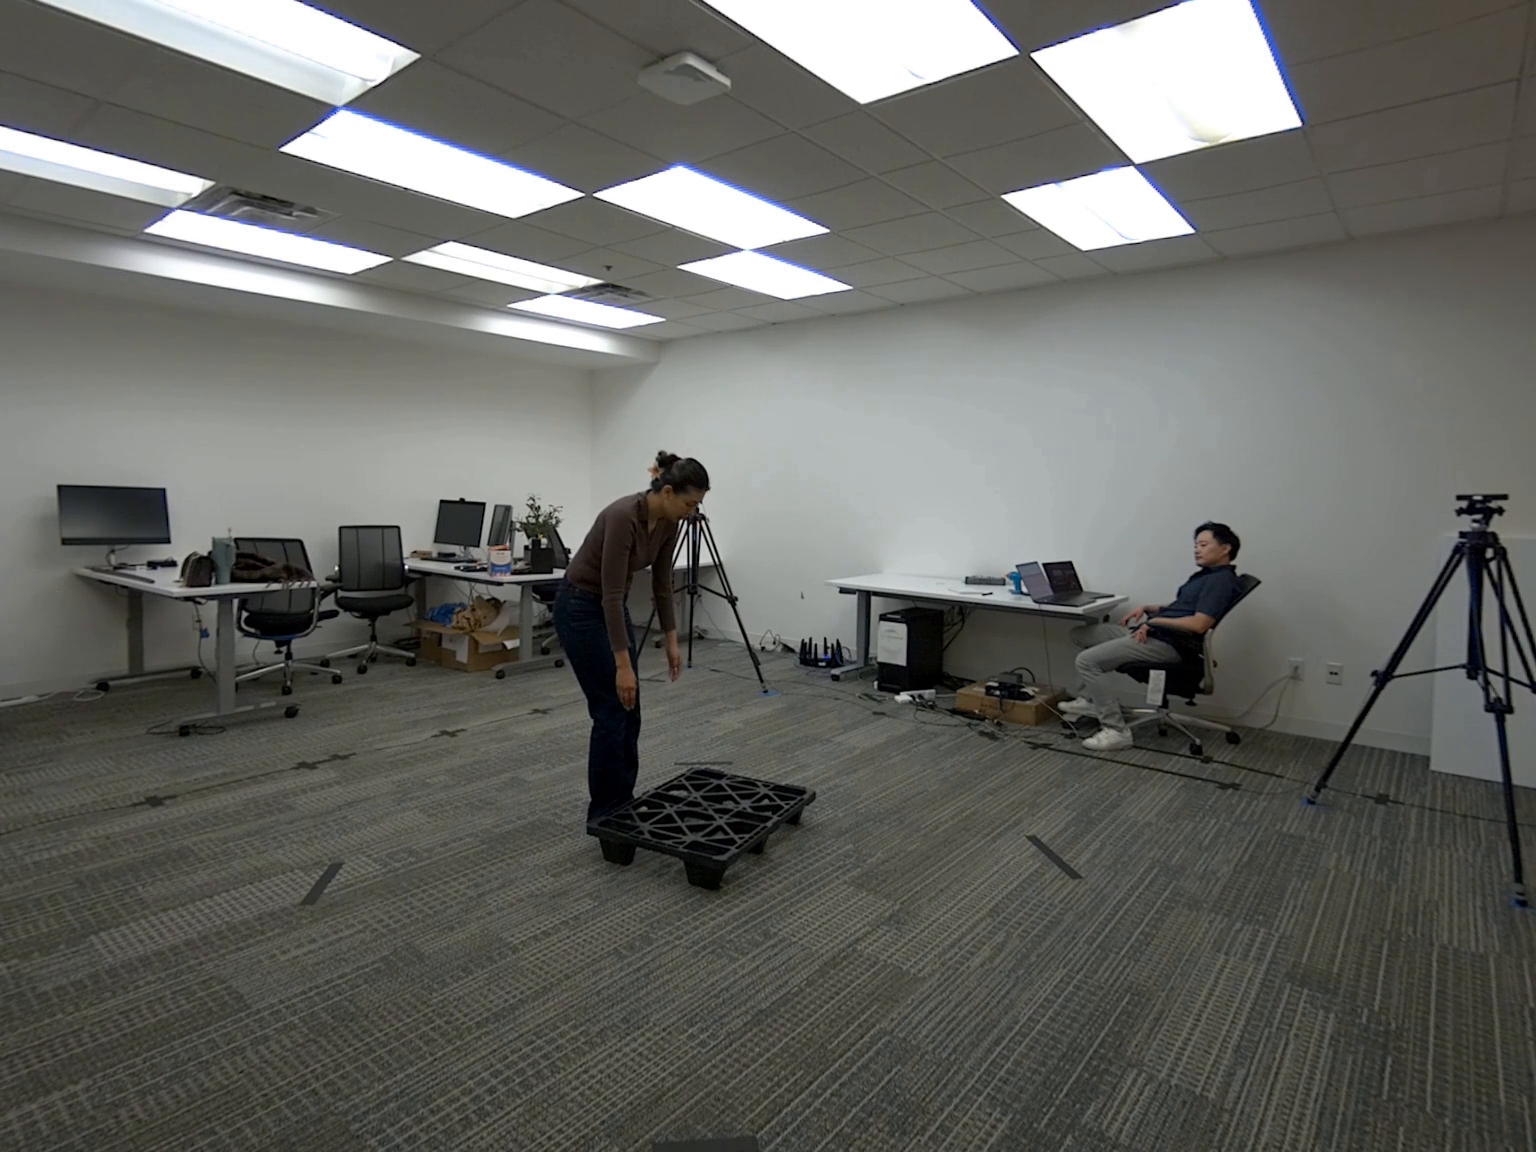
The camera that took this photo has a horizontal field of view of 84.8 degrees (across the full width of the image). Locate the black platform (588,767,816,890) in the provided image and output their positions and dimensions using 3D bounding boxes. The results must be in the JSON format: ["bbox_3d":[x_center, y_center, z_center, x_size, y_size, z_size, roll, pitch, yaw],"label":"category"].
[{"bbox_3d":[-0.241,0.973,3.360,0.622,0.143,0.786,4,7,27],"label":"black platform"}]
